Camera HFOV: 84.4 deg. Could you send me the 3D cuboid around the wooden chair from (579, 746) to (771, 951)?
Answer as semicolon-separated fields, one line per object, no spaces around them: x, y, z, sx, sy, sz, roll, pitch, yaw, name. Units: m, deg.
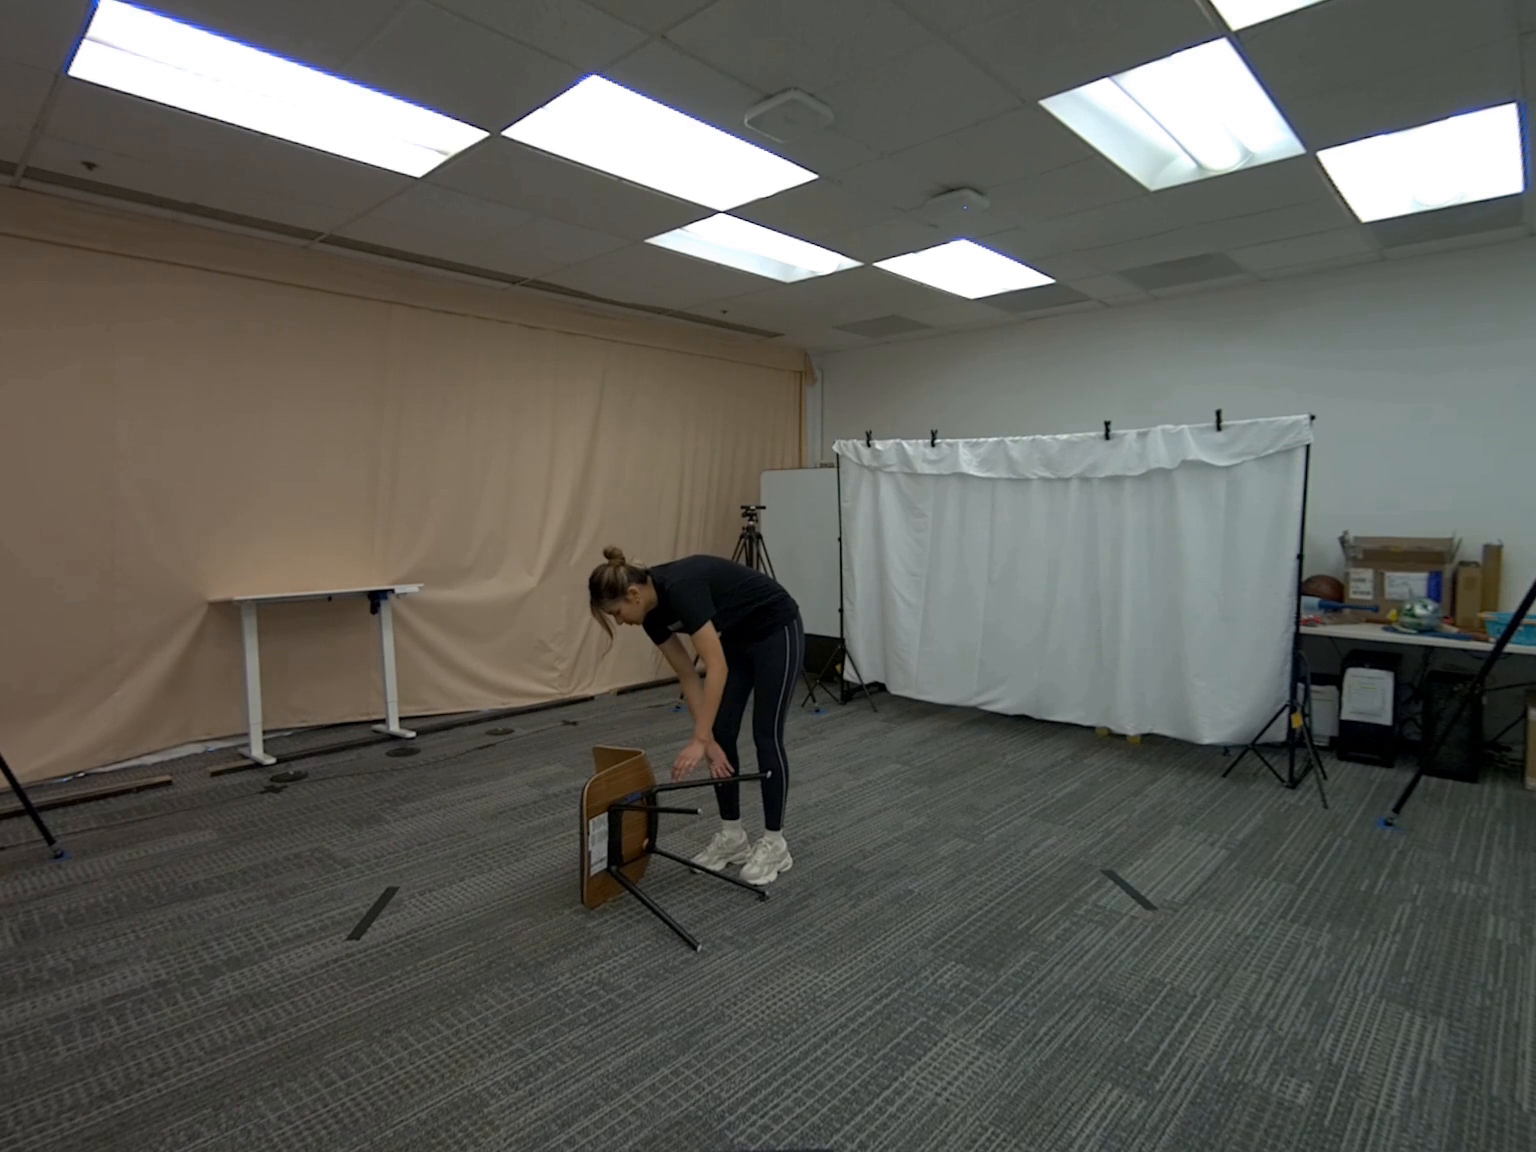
-0.482;0.913;3.021;0.905;0.477;0.508;4;6;35;wooden chair
